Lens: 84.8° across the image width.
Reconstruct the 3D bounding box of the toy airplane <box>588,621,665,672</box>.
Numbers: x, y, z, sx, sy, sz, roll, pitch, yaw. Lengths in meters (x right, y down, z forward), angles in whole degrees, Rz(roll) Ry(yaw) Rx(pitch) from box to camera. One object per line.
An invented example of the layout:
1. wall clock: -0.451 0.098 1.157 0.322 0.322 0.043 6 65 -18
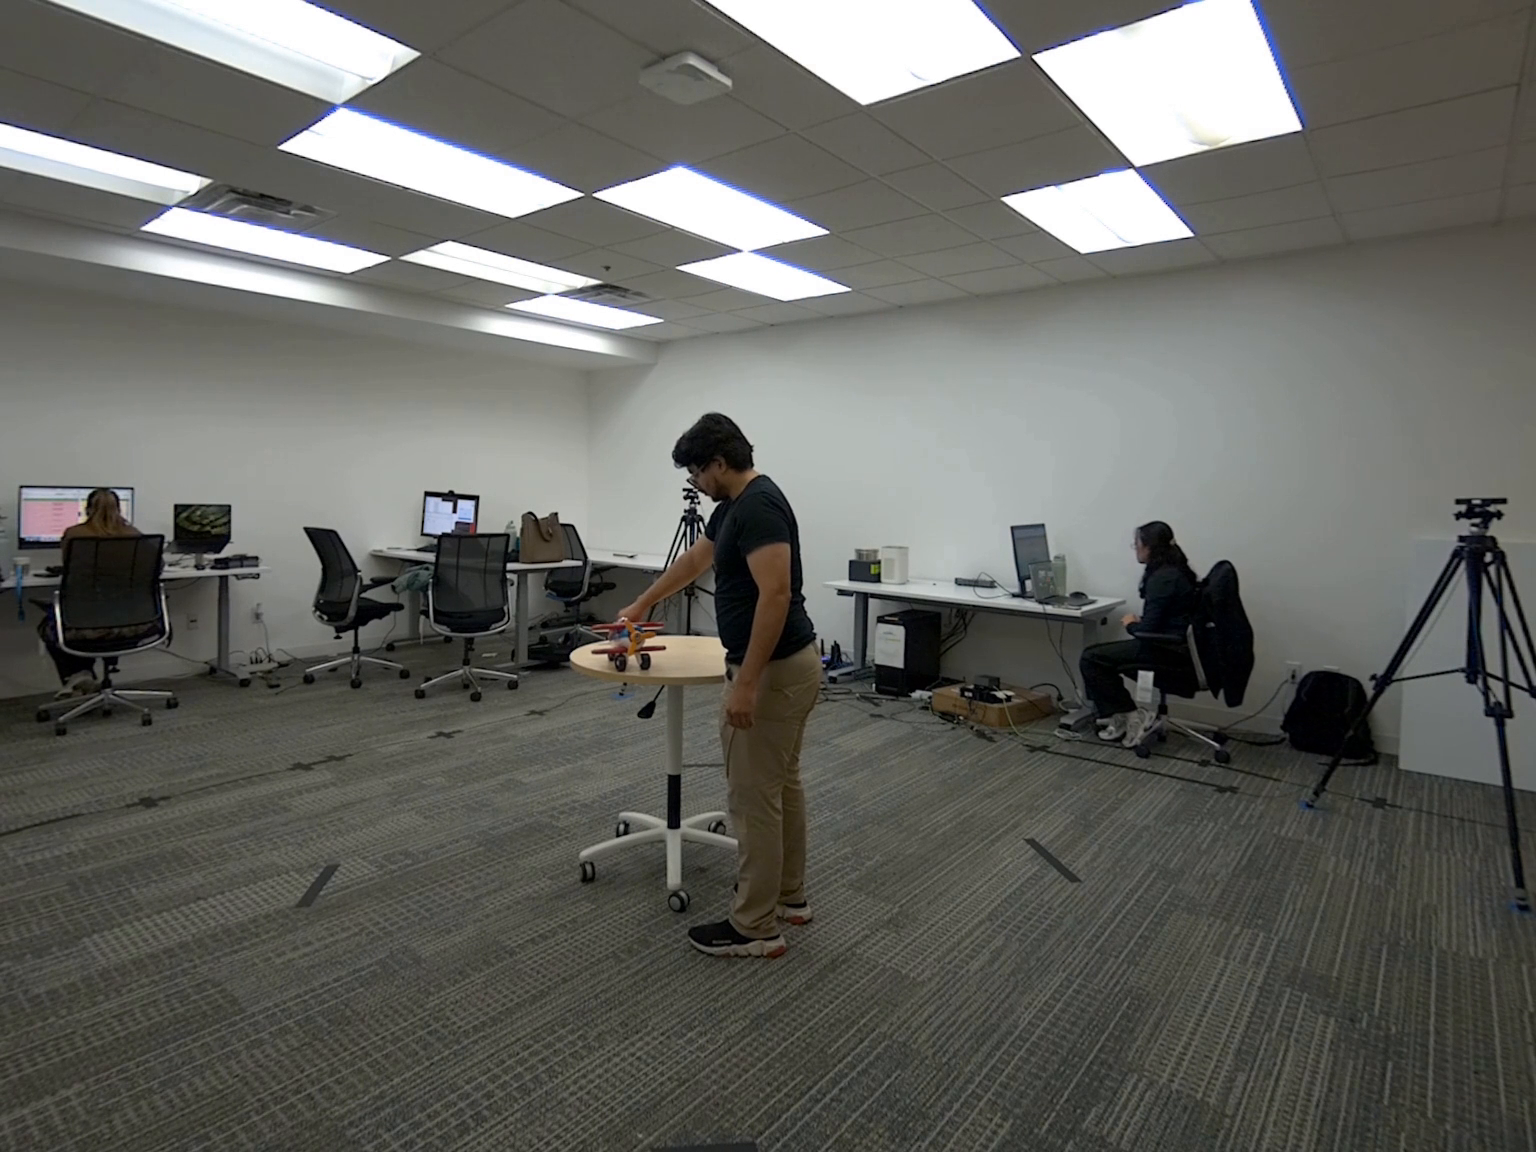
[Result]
1. toy airplane: -0.508 0.228 2.891 0.268 0.156 0.244 6 7 38
